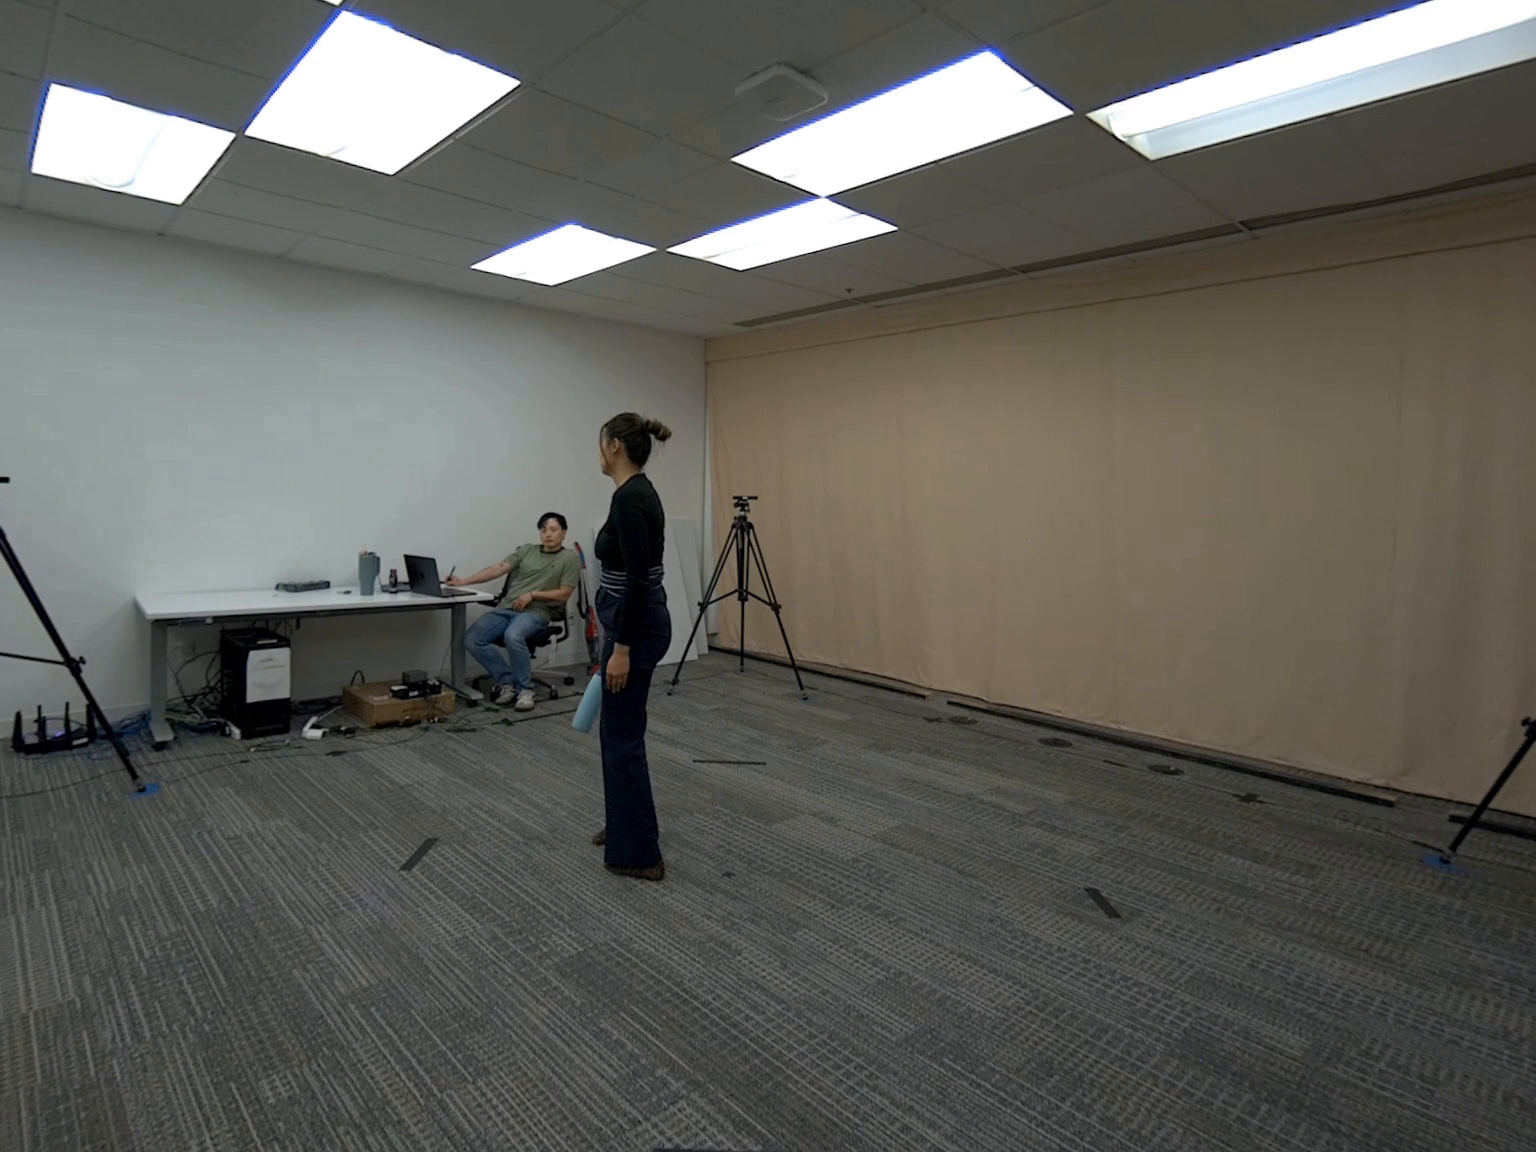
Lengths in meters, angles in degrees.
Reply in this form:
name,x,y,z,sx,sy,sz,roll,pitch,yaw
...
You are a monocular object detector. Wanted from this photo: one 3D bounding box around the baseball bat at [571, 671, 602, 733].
name,x,y,z,sx,sy,sz,roll,pitch,yaw
baseball bat,-0.705,0.419,3.617,0.089,0.543,0.089,23,-2,-1
